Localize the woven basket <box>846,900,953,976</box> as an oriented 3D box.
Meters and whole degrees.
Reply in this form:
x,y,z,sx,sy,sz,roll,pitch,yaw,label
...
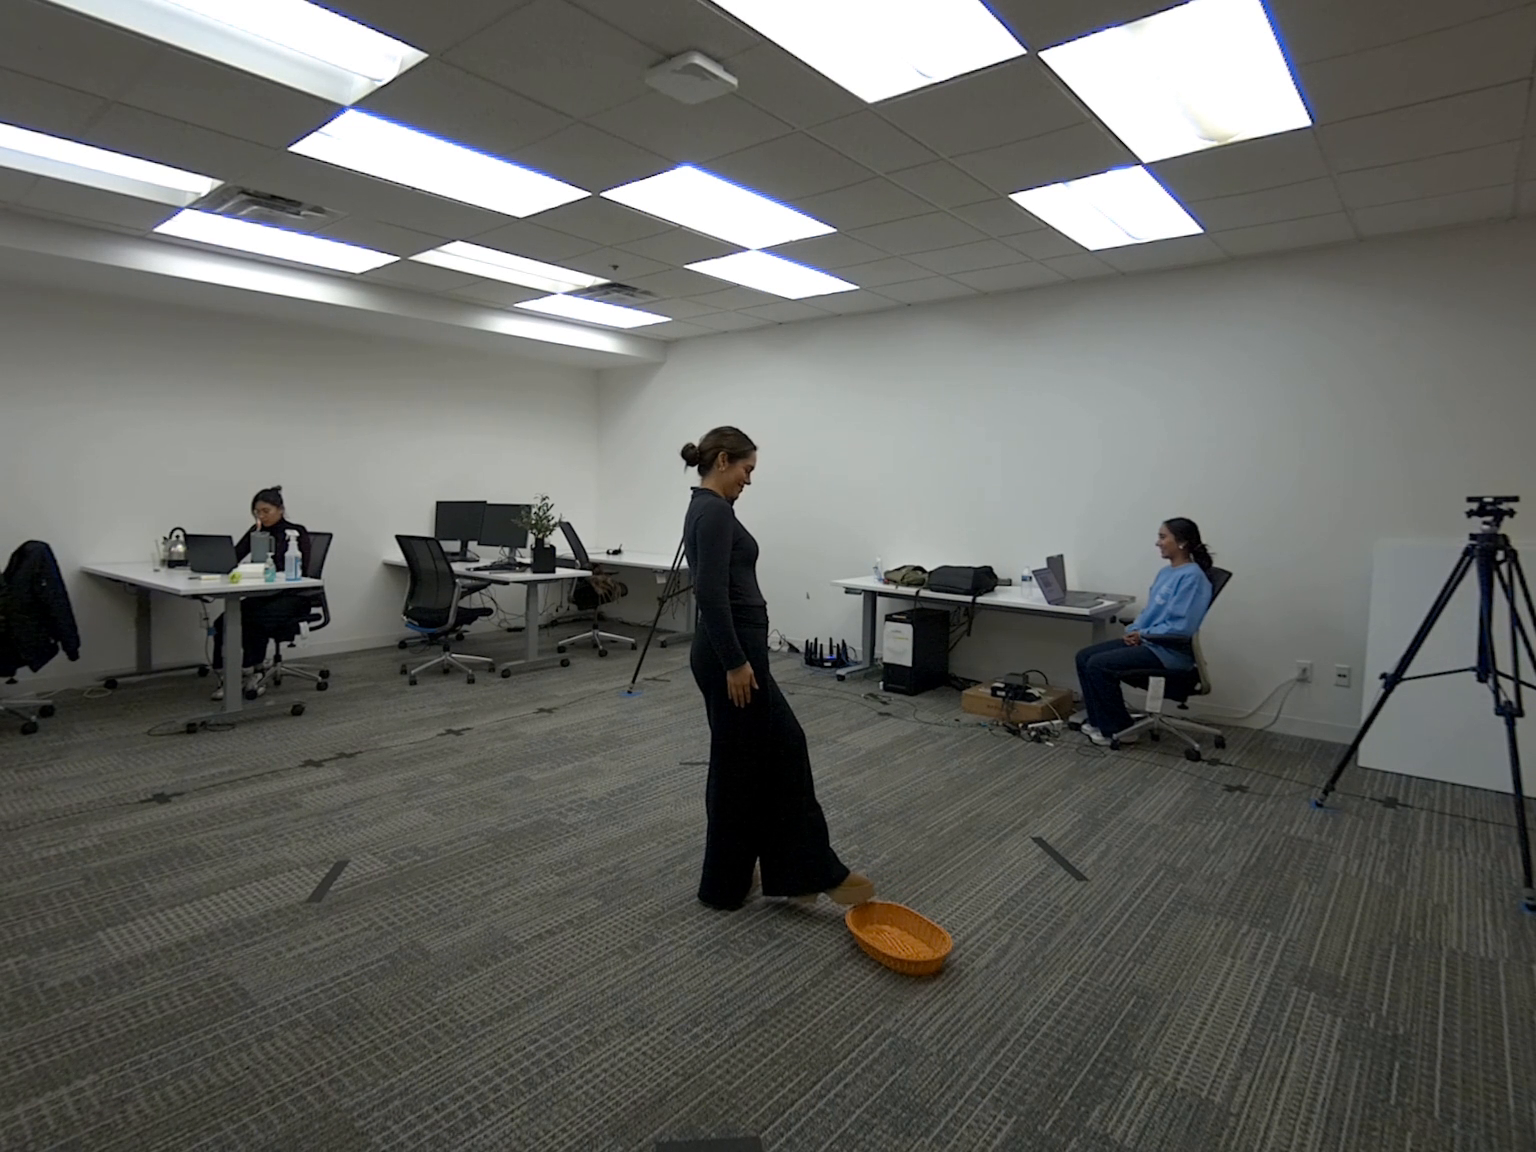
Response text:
x,y,z,sx,sy,sz,roll,pitch,yaw,label
0.384,1.089,2.574,0.246,0.073,0.361,-4,7,-29,woven basket
